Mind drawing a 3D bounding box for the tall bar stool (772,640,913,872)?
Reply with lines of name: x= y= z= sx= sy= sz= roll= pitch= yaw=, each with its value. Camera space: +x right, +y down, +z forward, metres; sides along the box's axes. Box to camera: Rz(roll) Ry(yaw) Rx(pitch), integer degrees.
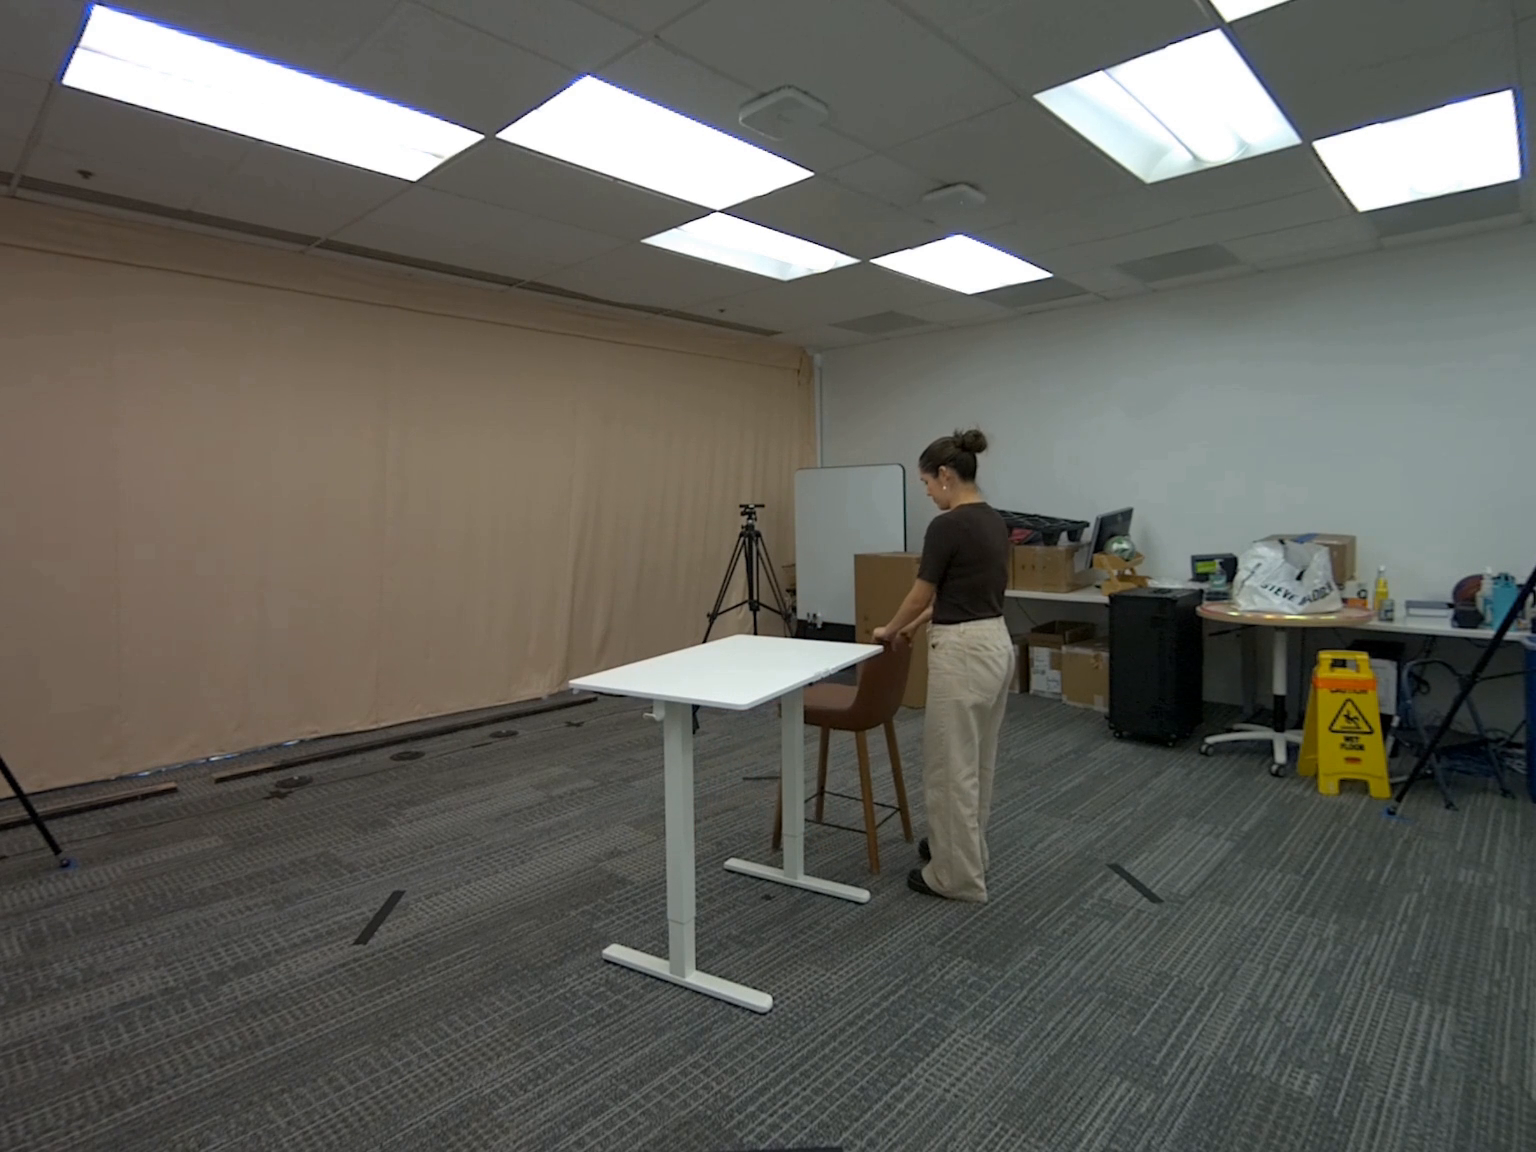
tall bar stool: x=0.316 y=0.663 z=3.403 sx=0.482 sy=0.887 sz=0.444 roll=4 pitch=5 yaw=32
